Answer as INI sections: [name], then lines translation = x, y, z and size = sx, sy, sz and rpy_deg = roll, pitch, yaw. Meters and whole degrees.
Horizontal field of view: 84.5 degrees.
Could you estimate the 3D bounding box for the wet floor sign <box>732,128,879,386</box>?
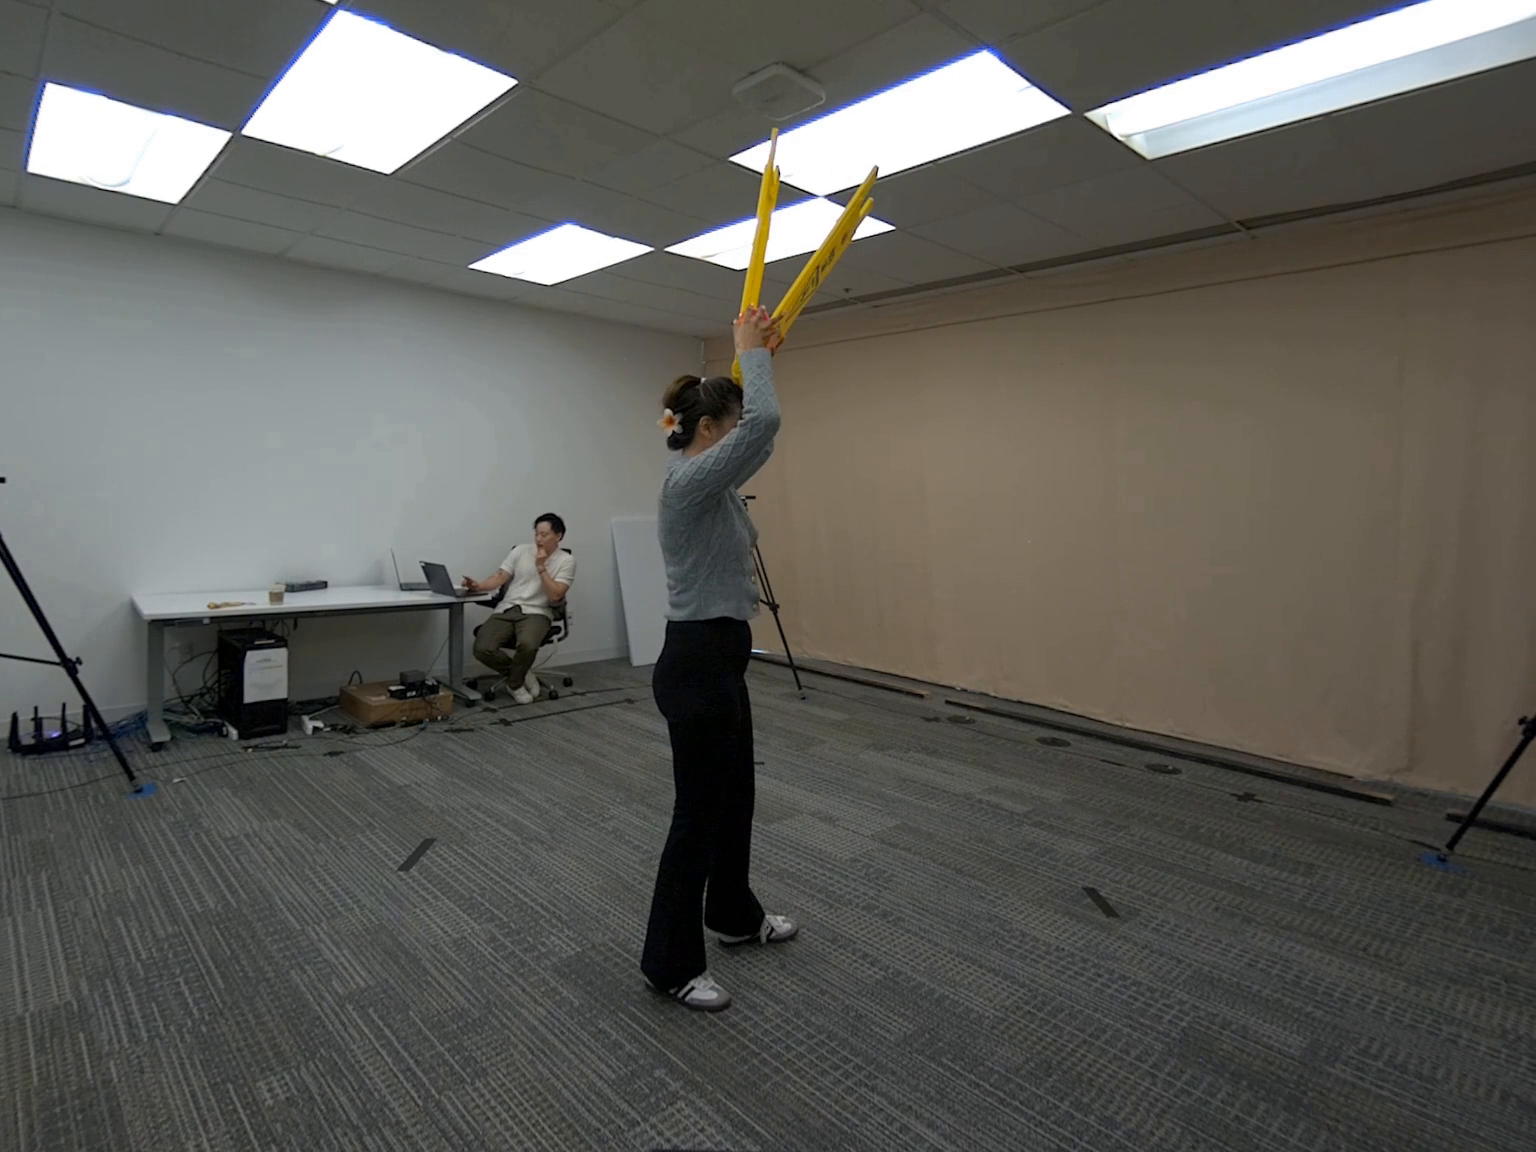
[wet floor sign]
translation = 0.027, -0.814, 2.311
size = 0.291, 0.645, 0.281
rpy_deg = 24, 3, 3
